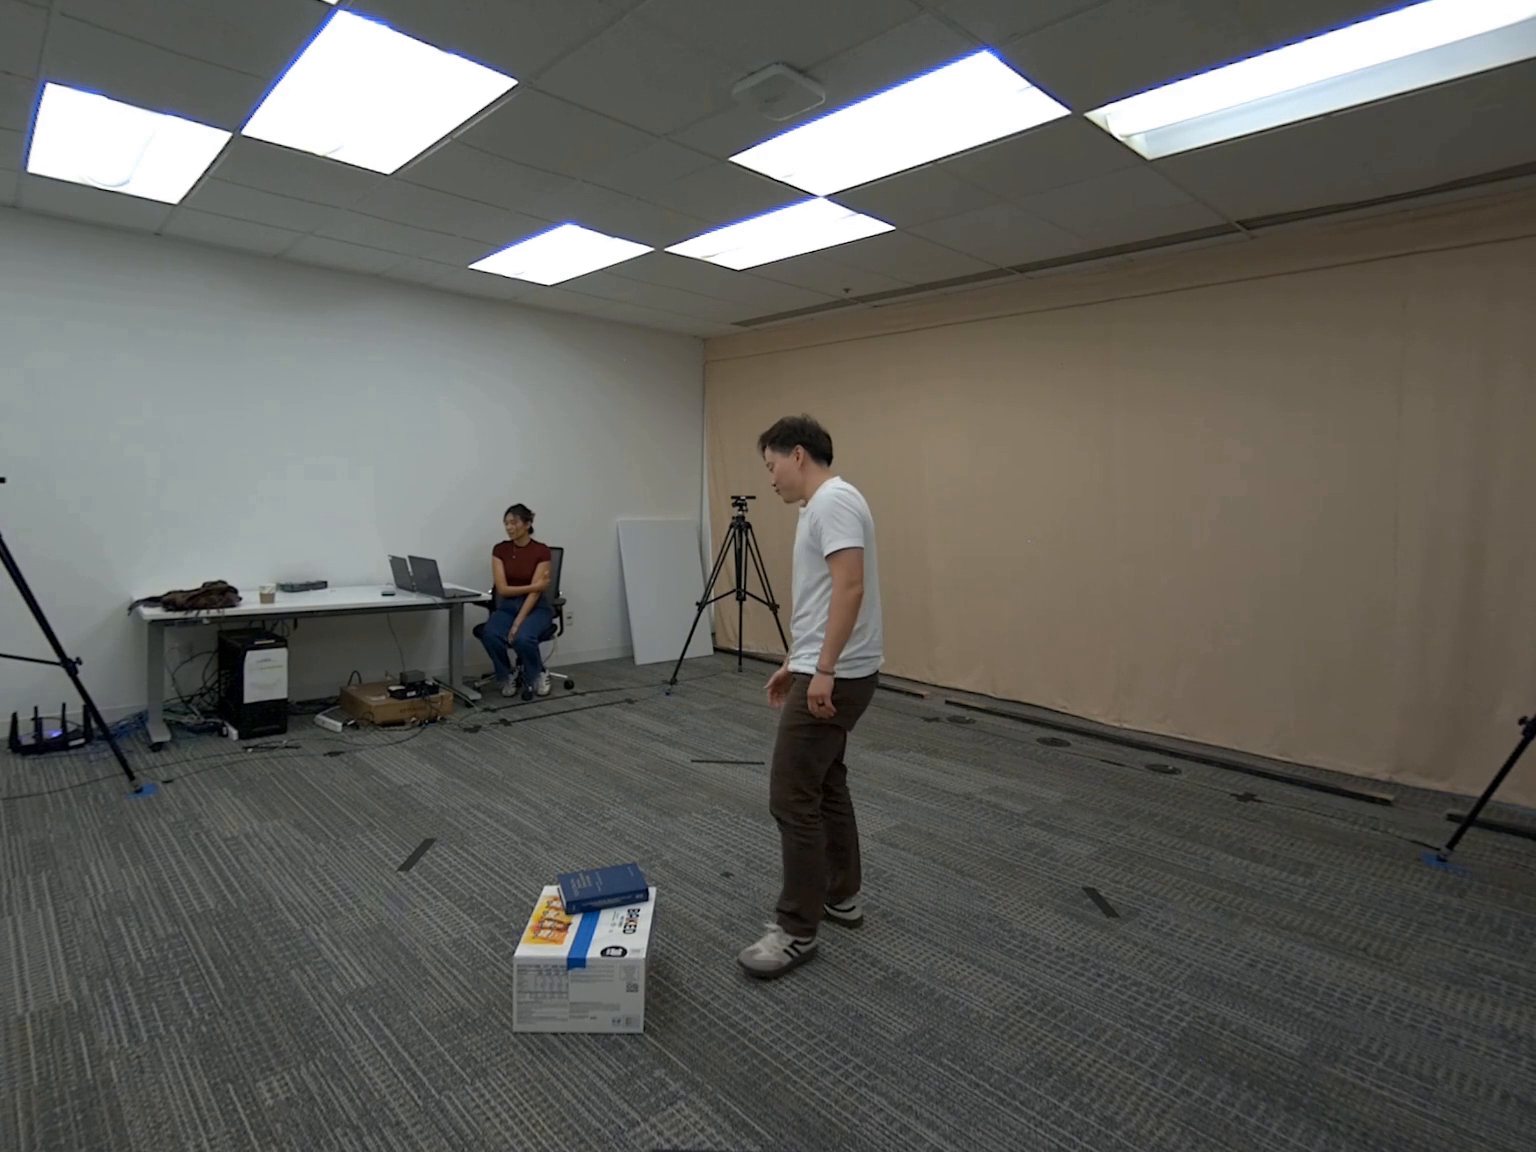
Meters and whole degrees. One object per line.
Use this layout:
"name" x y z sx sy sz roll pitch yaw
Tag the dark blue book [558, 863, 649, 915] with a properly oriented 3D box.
"dark blue book" -0.501 0.926 2.500 0.241 0.045 0.167 -2 9 -21
